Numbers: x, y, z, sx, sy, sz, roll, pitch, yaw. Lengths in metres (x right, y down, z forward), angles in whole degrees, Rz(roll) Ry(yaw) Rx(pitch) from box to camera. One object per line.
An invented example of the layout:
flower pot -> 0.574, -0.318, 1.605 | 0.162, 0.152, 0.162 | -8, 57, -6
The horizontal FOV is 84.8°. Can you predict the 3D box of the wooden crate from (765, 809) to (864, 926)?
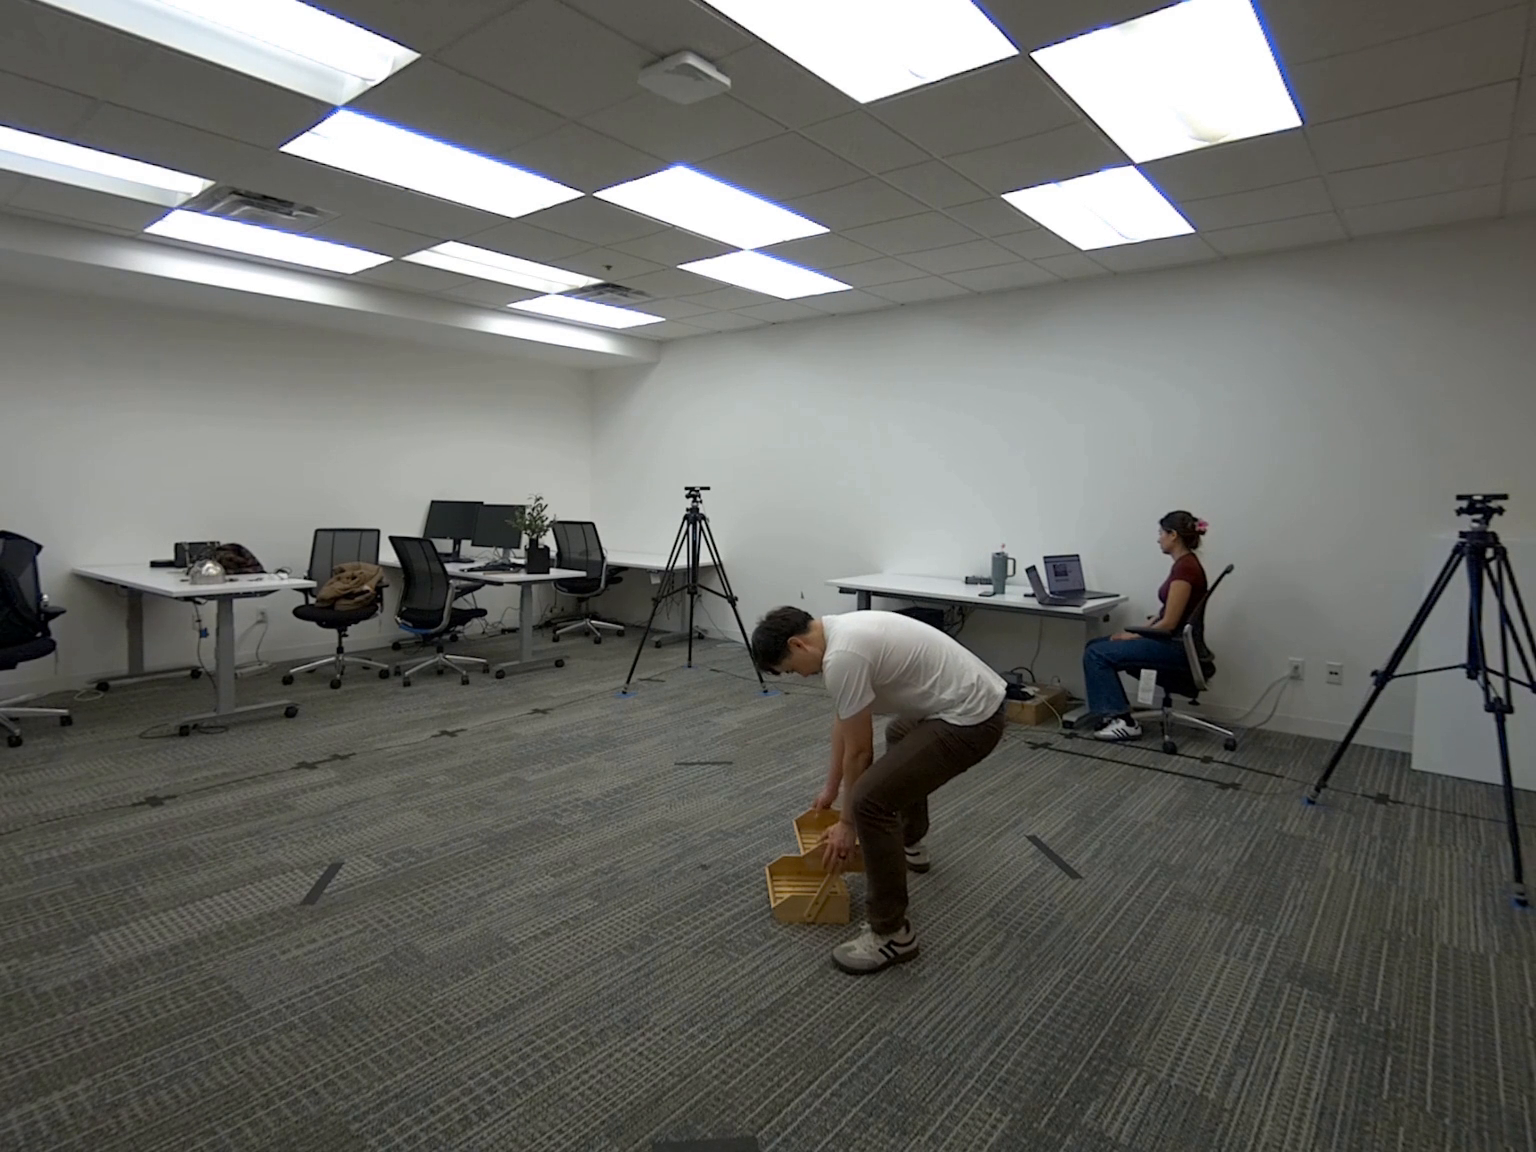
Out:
wooden crate -> 0.146, 0.965, 2.866 | 0.301, 0.272, 0.326 | 2, 4, -3
